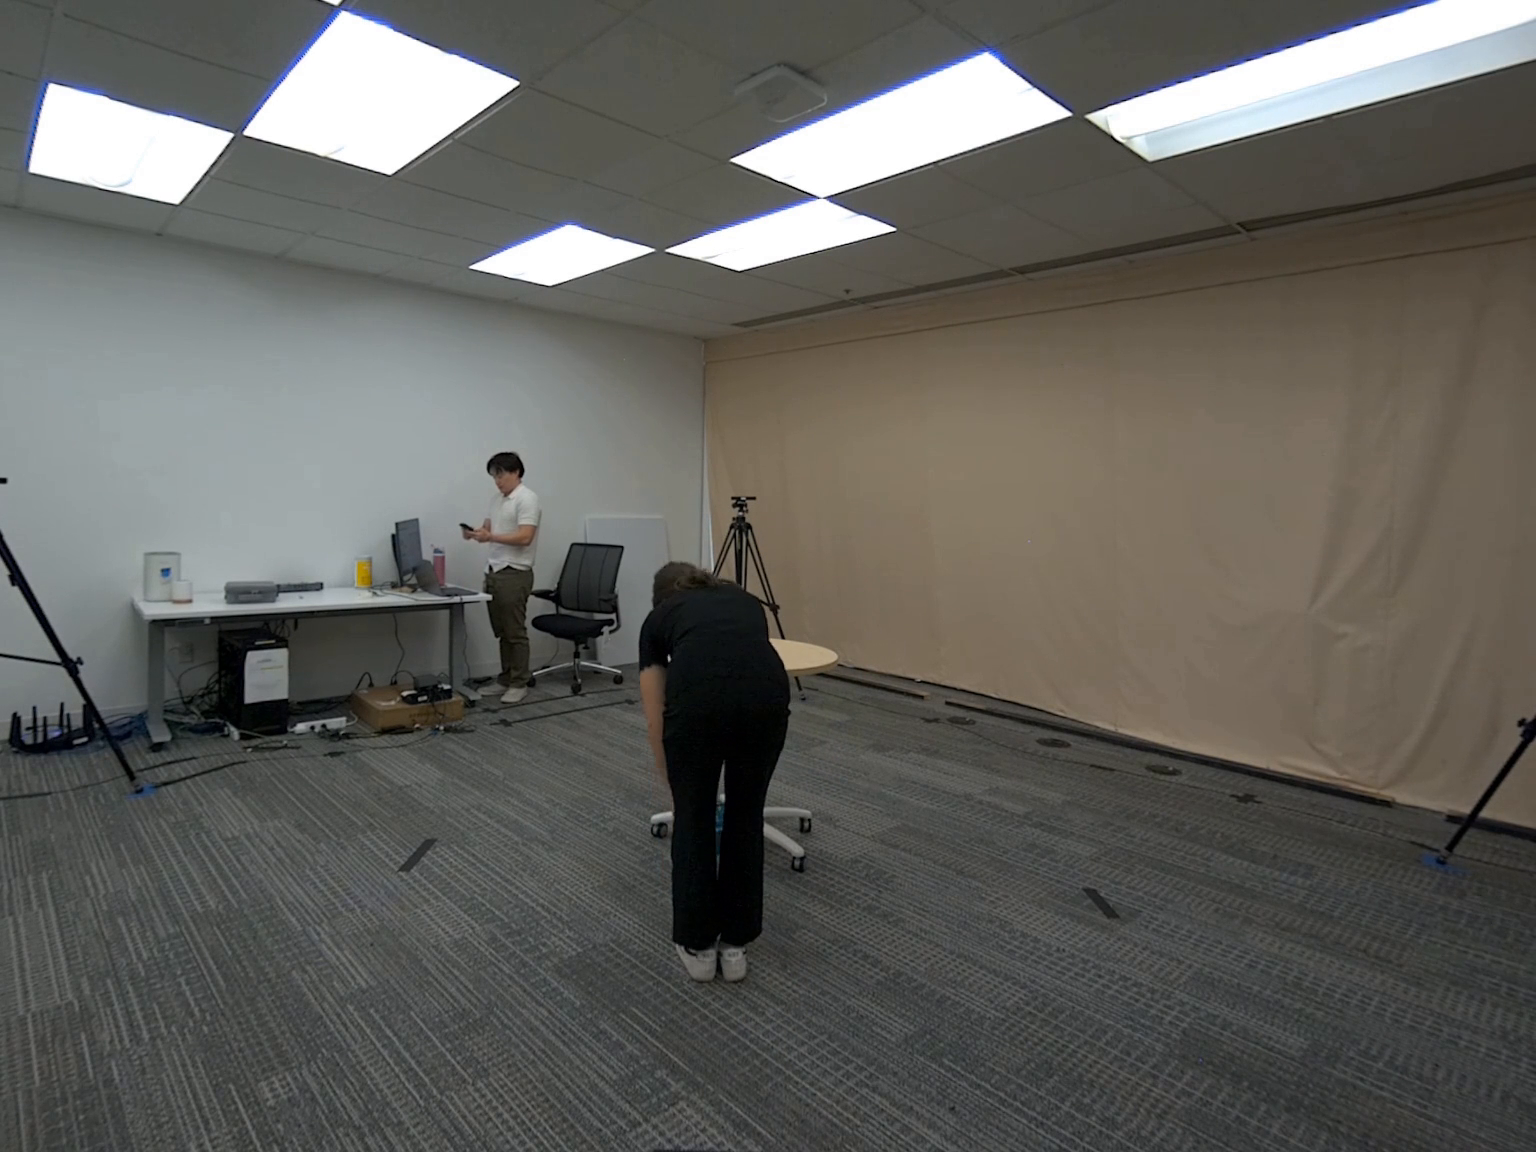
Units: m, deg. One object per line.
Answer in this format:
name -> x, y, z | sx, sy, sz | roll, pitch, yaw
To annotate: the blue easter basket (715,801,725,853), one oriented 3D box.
blue easter basket -> -0.196, 0.823, 2.677 | 0.243, 0.158, 0.240 | -10, -17, -5
